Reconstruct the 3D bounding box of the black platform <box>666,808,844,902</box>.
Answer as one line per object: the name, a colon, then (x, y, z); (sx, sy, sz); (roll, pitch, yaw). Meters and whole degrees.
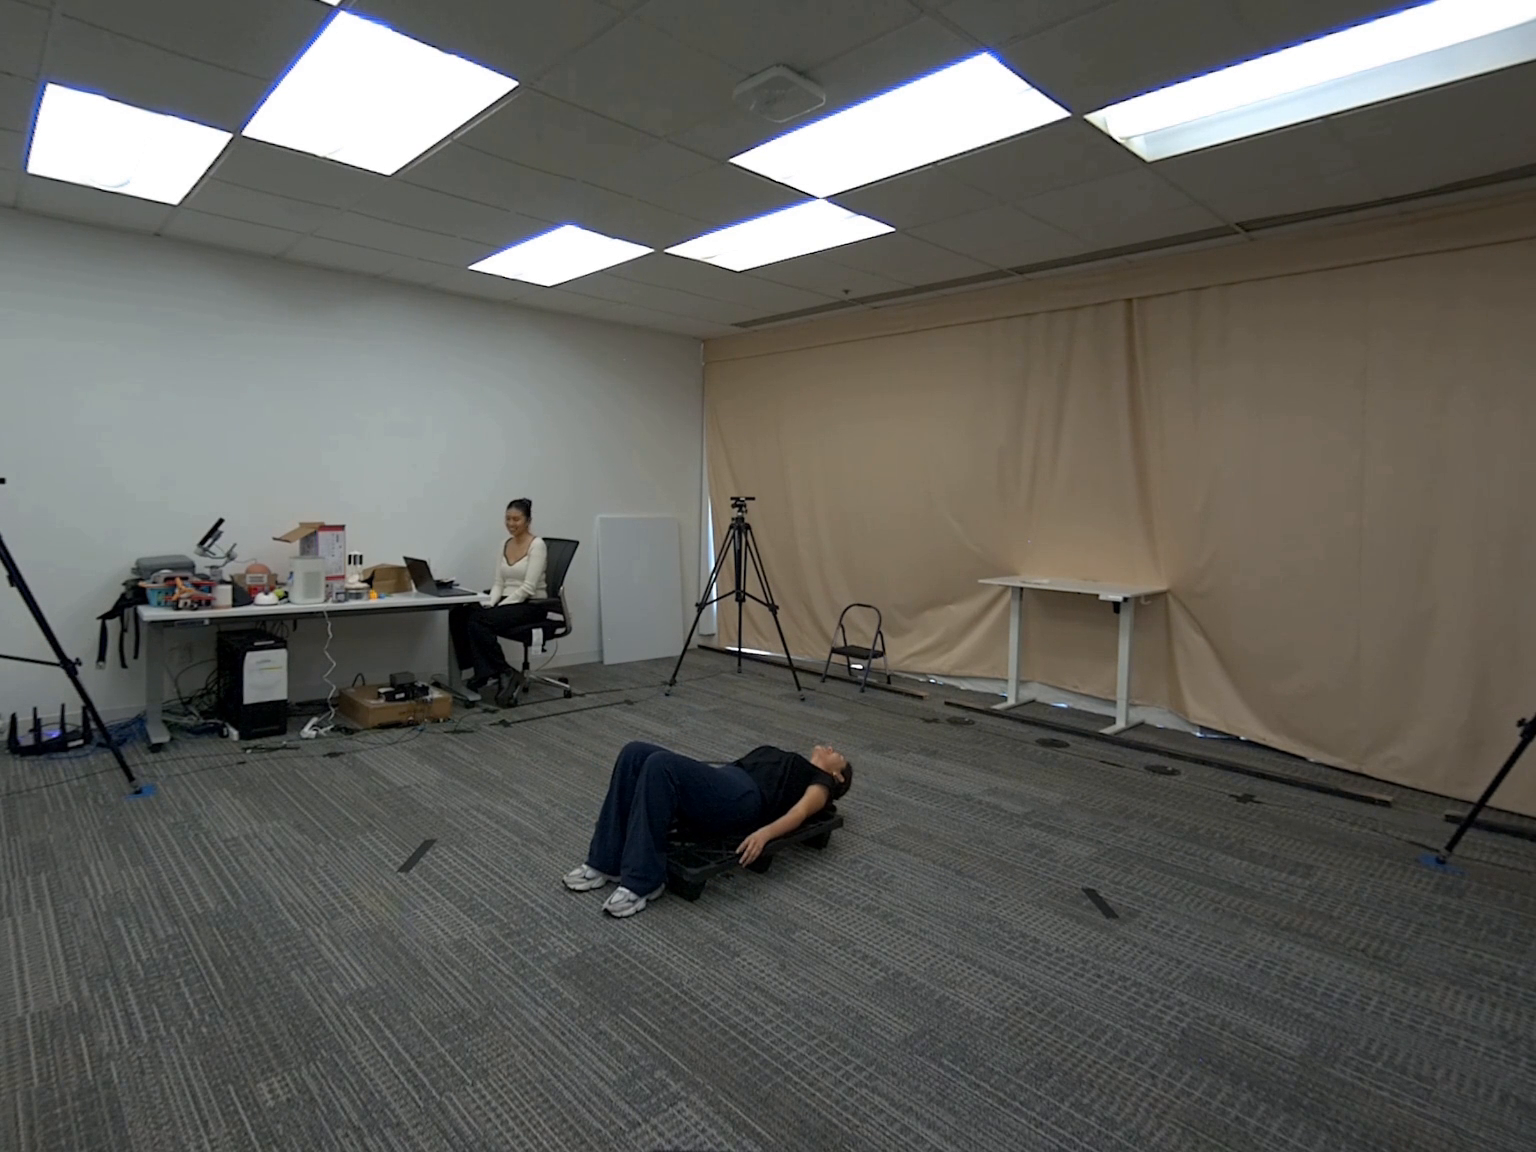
black platform: (-0.187, 1.020, 3.303); (0.620, 0.143, 0.787); (5, 6, 44)
